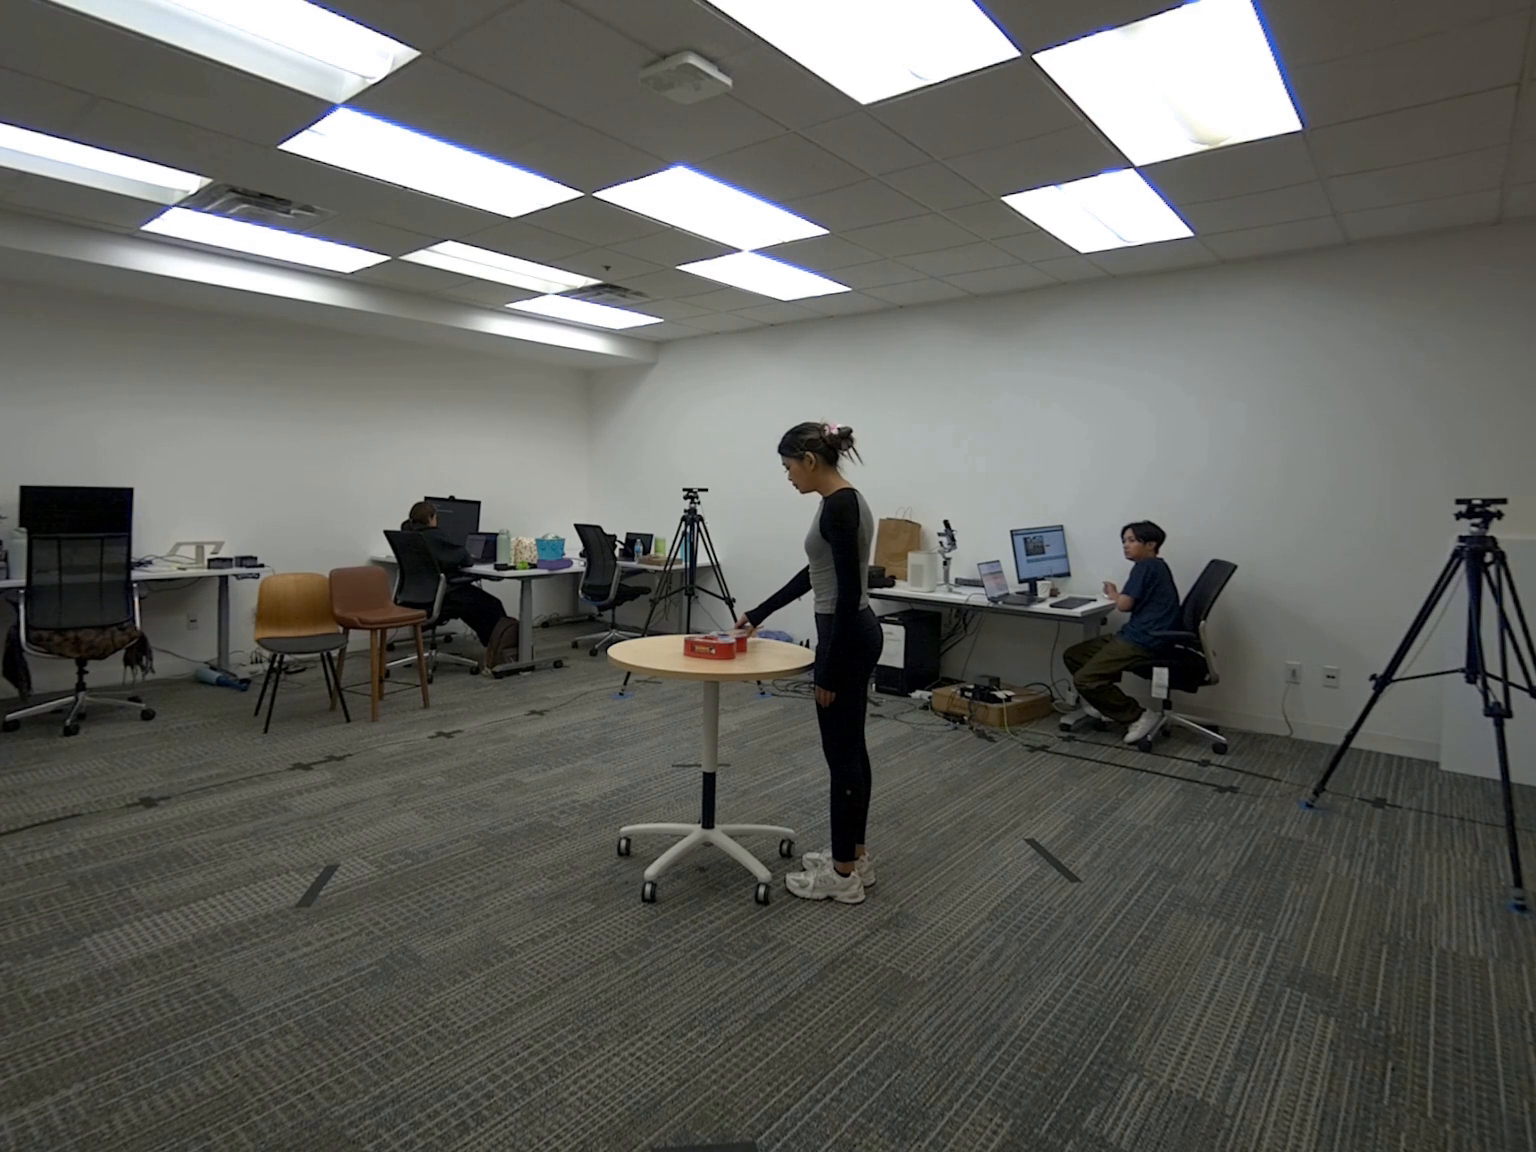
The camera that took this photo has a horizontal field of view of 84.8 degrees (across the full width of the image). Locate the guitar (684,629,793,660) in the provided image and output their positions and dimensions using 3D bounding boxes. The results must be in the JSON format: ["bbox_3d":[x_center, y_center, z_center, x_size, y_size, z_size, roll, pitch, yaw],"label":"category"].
[{"bbox_3d":[-0.125,0.240,3.189,0.199,0.070,0.485,5,6,30],"label":"guitar"}]
